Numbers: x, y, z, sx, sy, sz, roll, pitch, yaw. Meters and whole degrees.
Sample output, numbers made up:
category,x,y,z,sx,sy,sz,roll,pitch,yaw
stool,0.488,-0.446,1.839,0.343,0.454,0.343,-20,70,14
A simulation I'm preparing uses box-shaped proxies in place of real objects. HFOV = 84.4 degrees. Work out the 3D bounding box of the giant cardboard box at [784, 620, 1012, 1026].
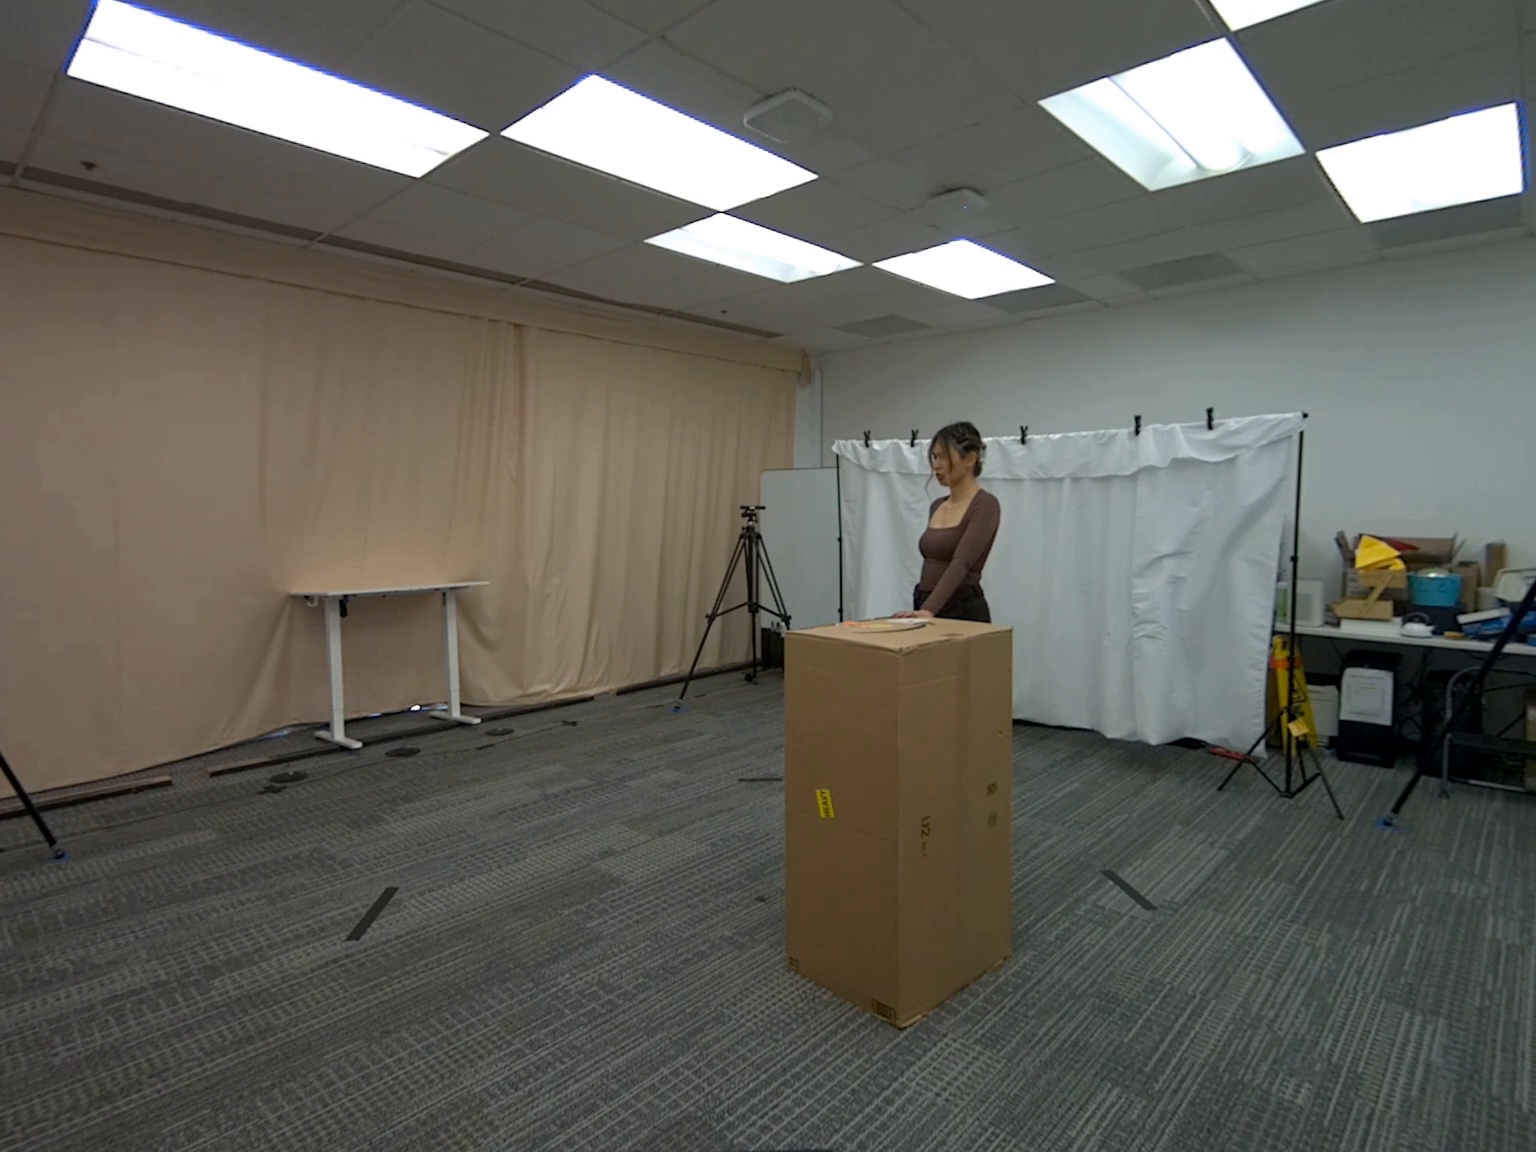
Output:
category,x,y,z,sx,sy,sz,roll,pitch,yaw
giant cardboard box,0.405,0.670,2.554,0.566,1.025,0.461,-3,3,-41
